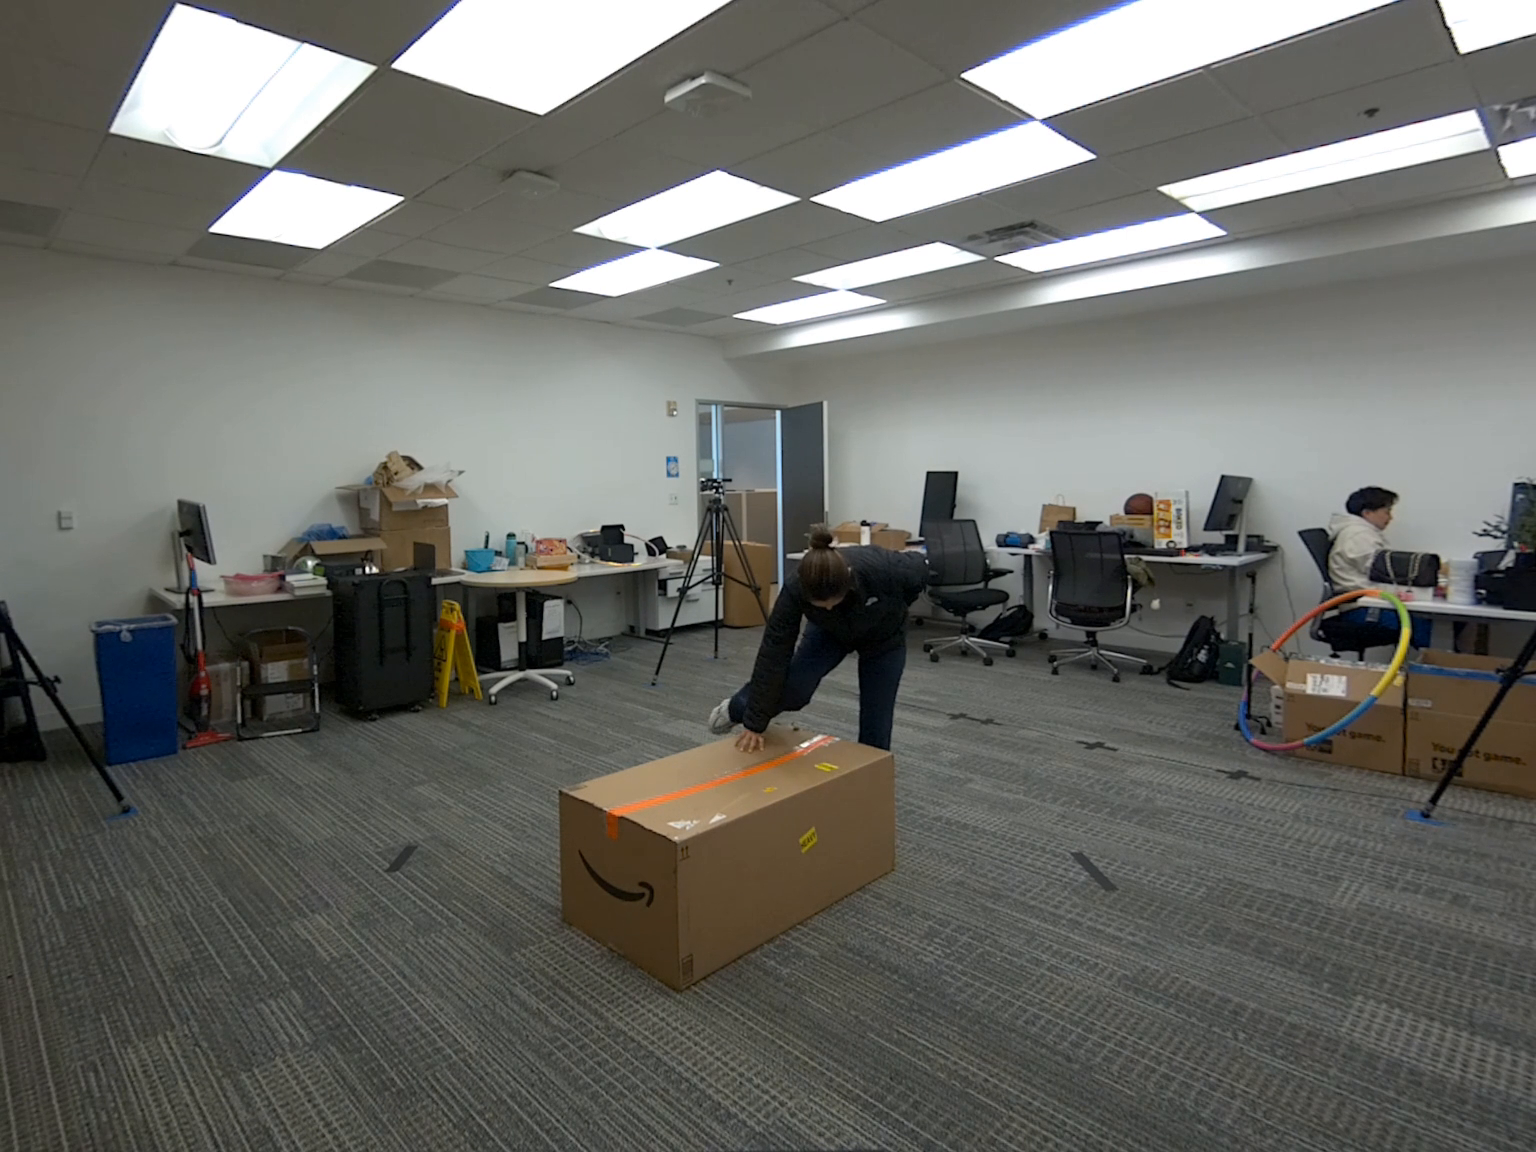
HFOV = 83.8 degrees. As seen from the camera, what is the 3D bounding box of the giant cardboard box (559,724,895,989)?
[{"bbox_3d":[-0.107,0.864,2.885,0.601,0.445,1.001,2,7,44],"label":"giant cardboard box"}]
